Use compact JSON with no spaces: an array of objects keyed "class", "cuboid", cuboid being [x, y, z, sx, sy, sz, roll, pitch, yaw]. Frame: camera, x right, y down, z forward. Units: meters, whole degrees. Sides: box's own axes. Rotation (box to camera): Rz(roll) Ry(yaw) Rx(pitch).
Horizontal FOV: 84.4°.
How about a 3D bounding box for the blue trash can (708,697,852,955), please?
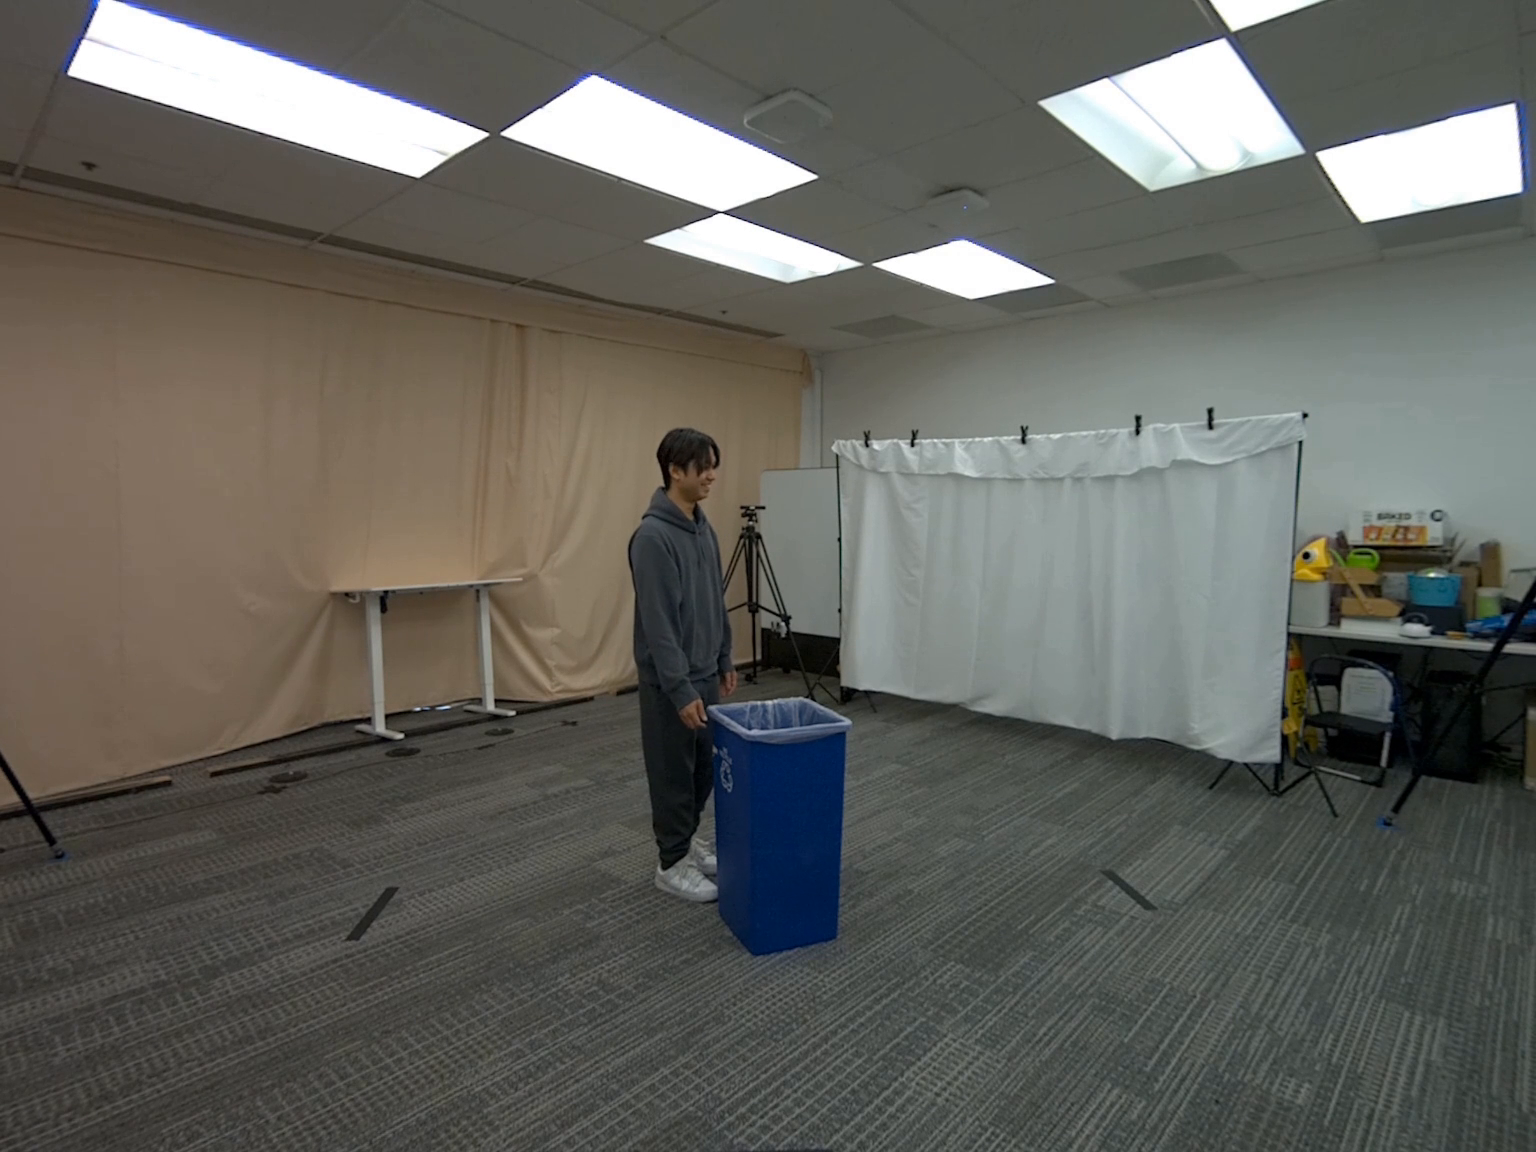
[{"class":"blue trash can","cuboid":[0.039,0.804,2.765,0.370,0.712,0.383,-2,3,-24]}]
